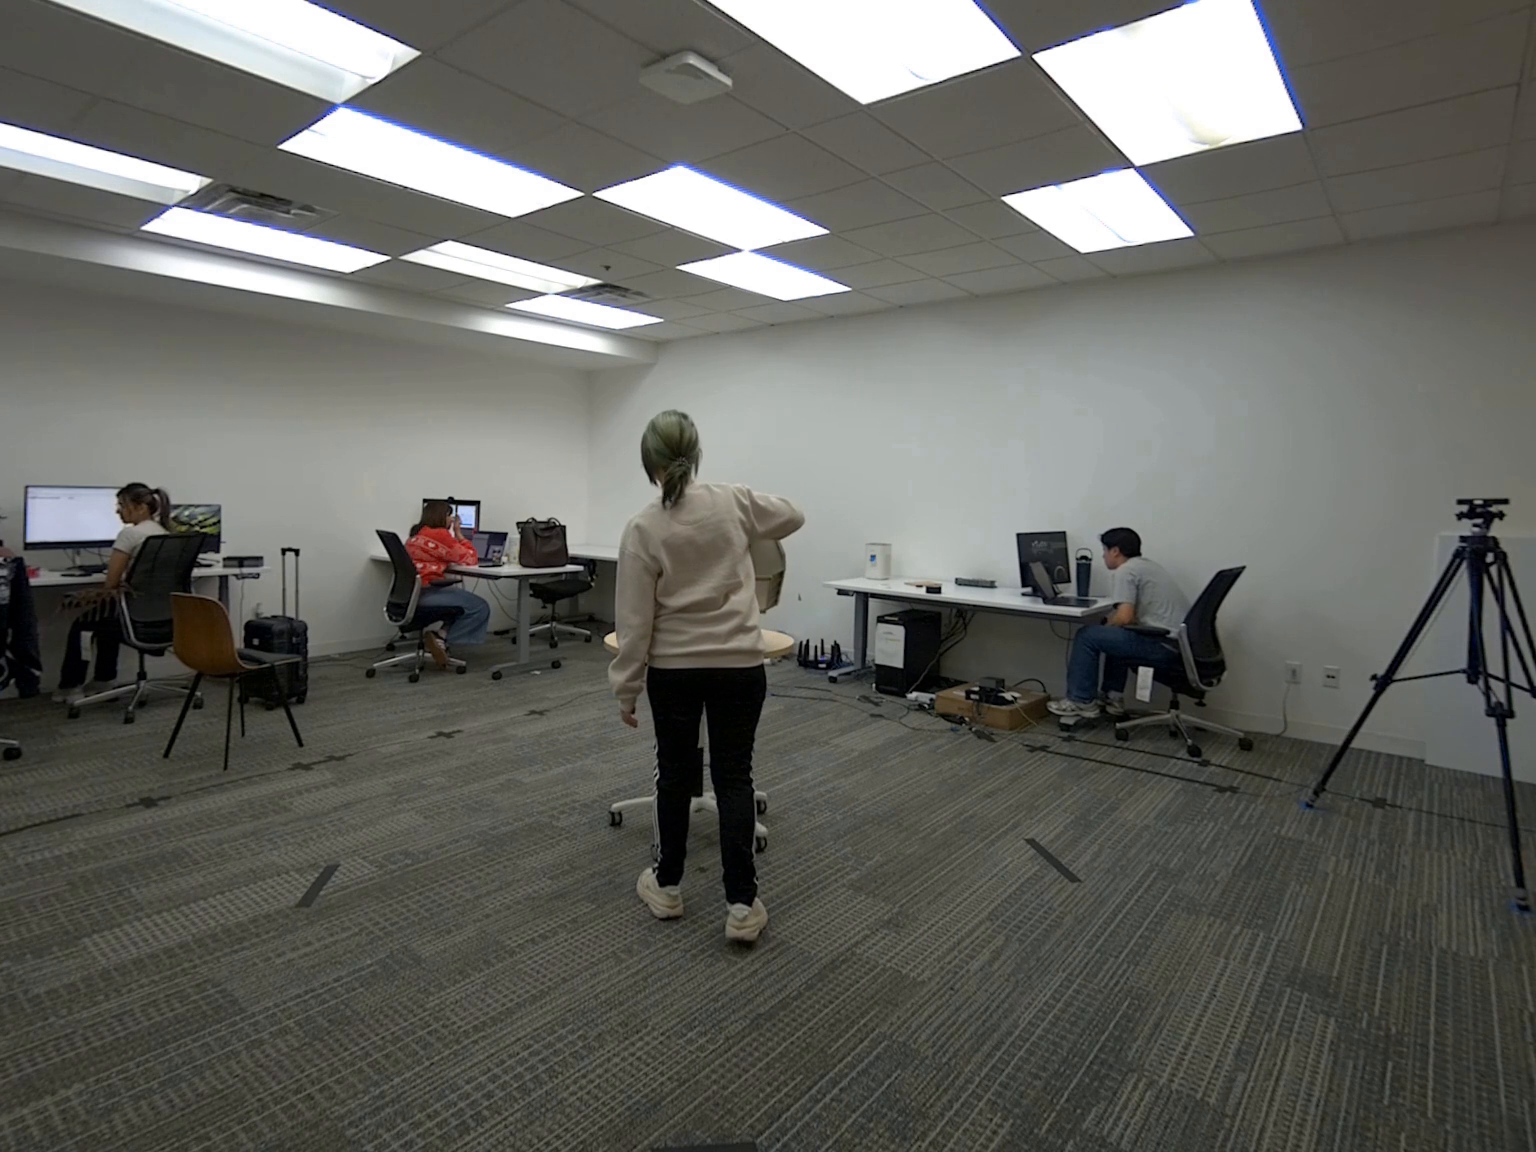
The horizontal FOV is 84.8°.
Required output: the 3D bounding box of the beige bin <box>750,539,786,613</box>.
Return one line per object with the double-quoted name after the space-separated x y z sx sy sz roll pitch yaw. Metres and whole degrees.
-0.144 -0.011 3.211 0.376 0.193 0.415 -1 -19 -3 "beige bin"
